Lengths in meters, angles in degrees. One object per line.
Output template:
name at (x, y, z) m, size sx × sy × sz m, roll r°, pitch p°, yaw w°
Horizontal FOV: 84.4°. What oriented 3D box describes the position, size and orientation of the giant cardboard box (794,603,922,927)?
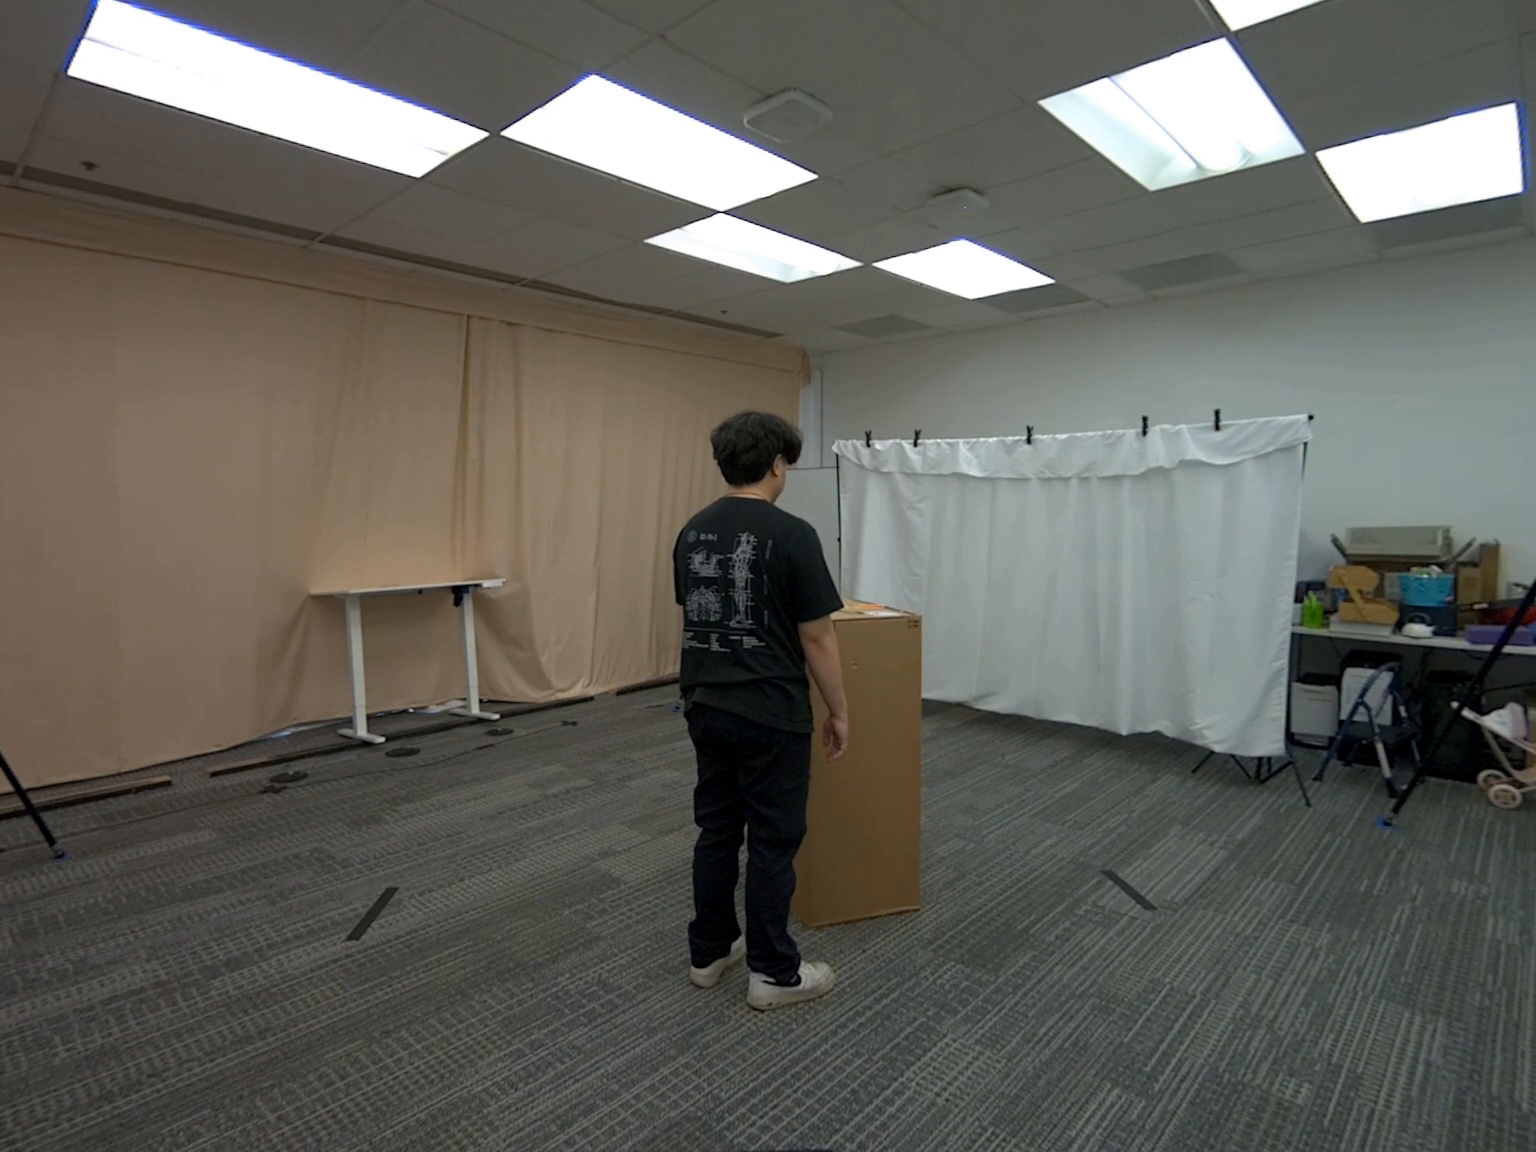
giant cardboard box at (0.231, 0.623, 3.080) m, size 0.438 × 1.025 × 0.597 m, roll -1°, pitch 3°, yaw -21°
